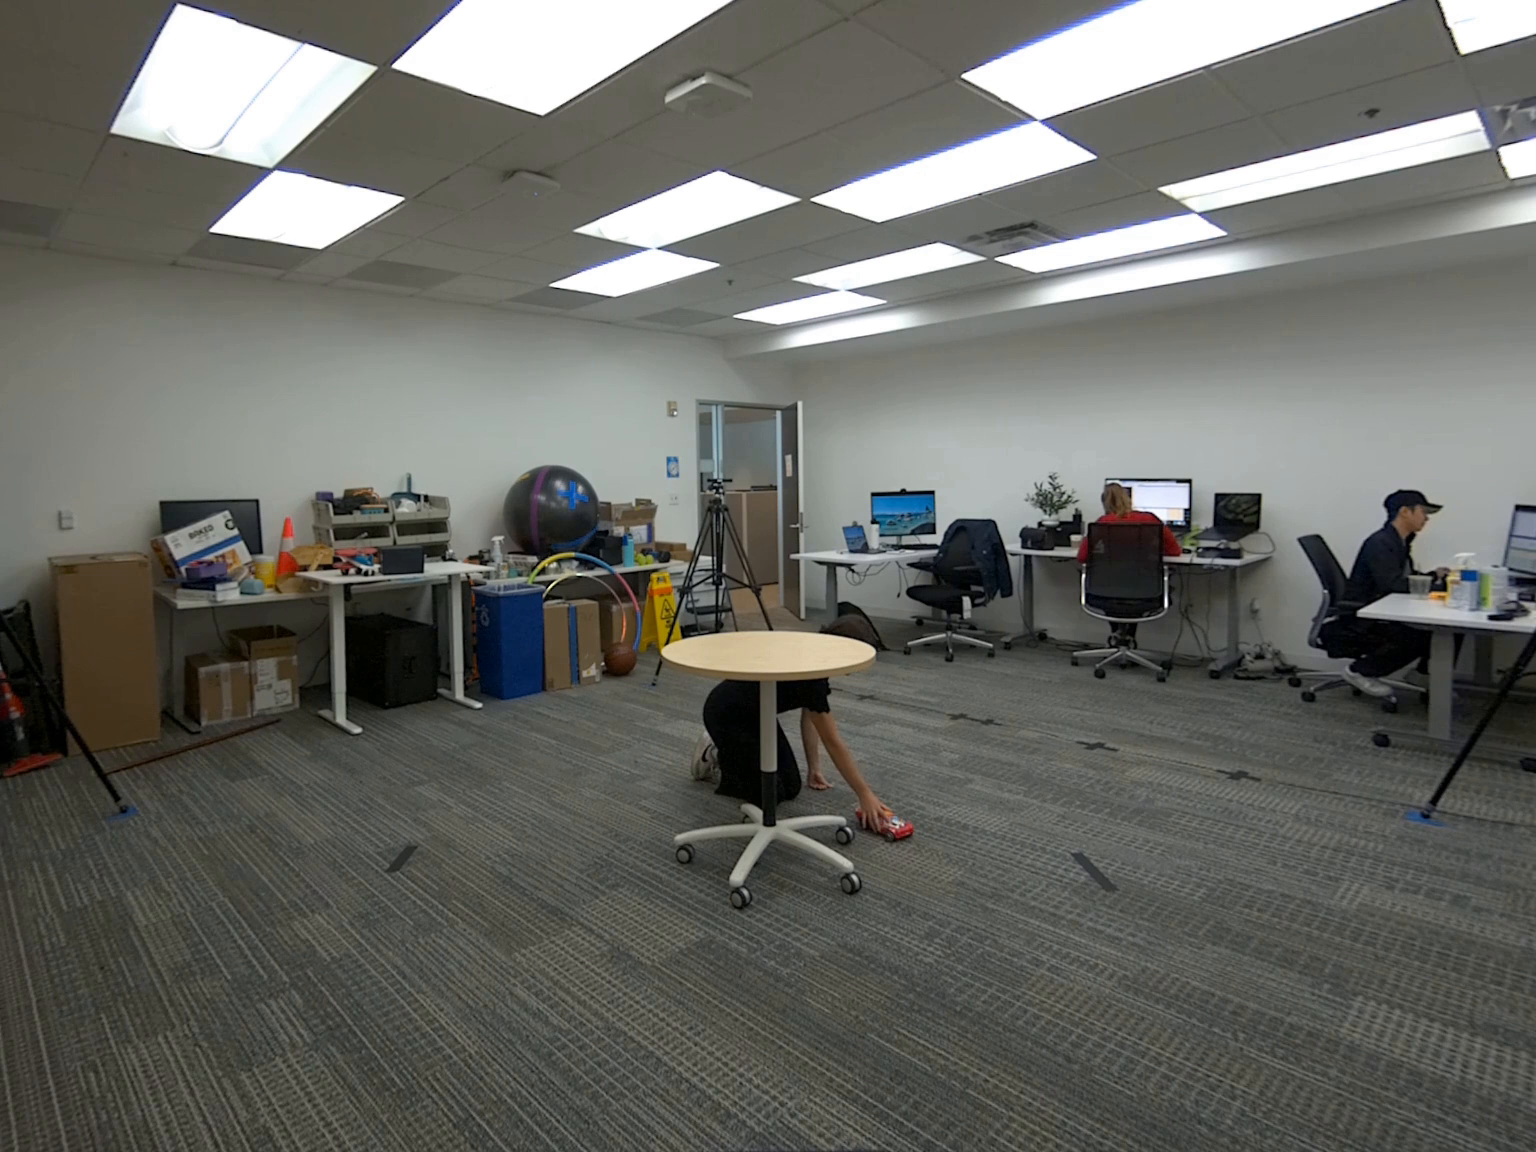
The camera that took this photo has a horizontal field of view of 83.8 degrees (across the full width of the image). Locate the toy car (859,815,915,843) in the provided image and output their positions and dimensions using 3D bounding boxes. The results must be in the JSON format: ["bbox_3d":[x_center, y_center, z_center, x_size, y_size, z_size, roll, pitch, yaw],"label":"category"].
[{"bbox_3d":[0.456,0.975,3.389,0.127,0.082,0.264,-6,17,-35],"label":"toy car"}]
